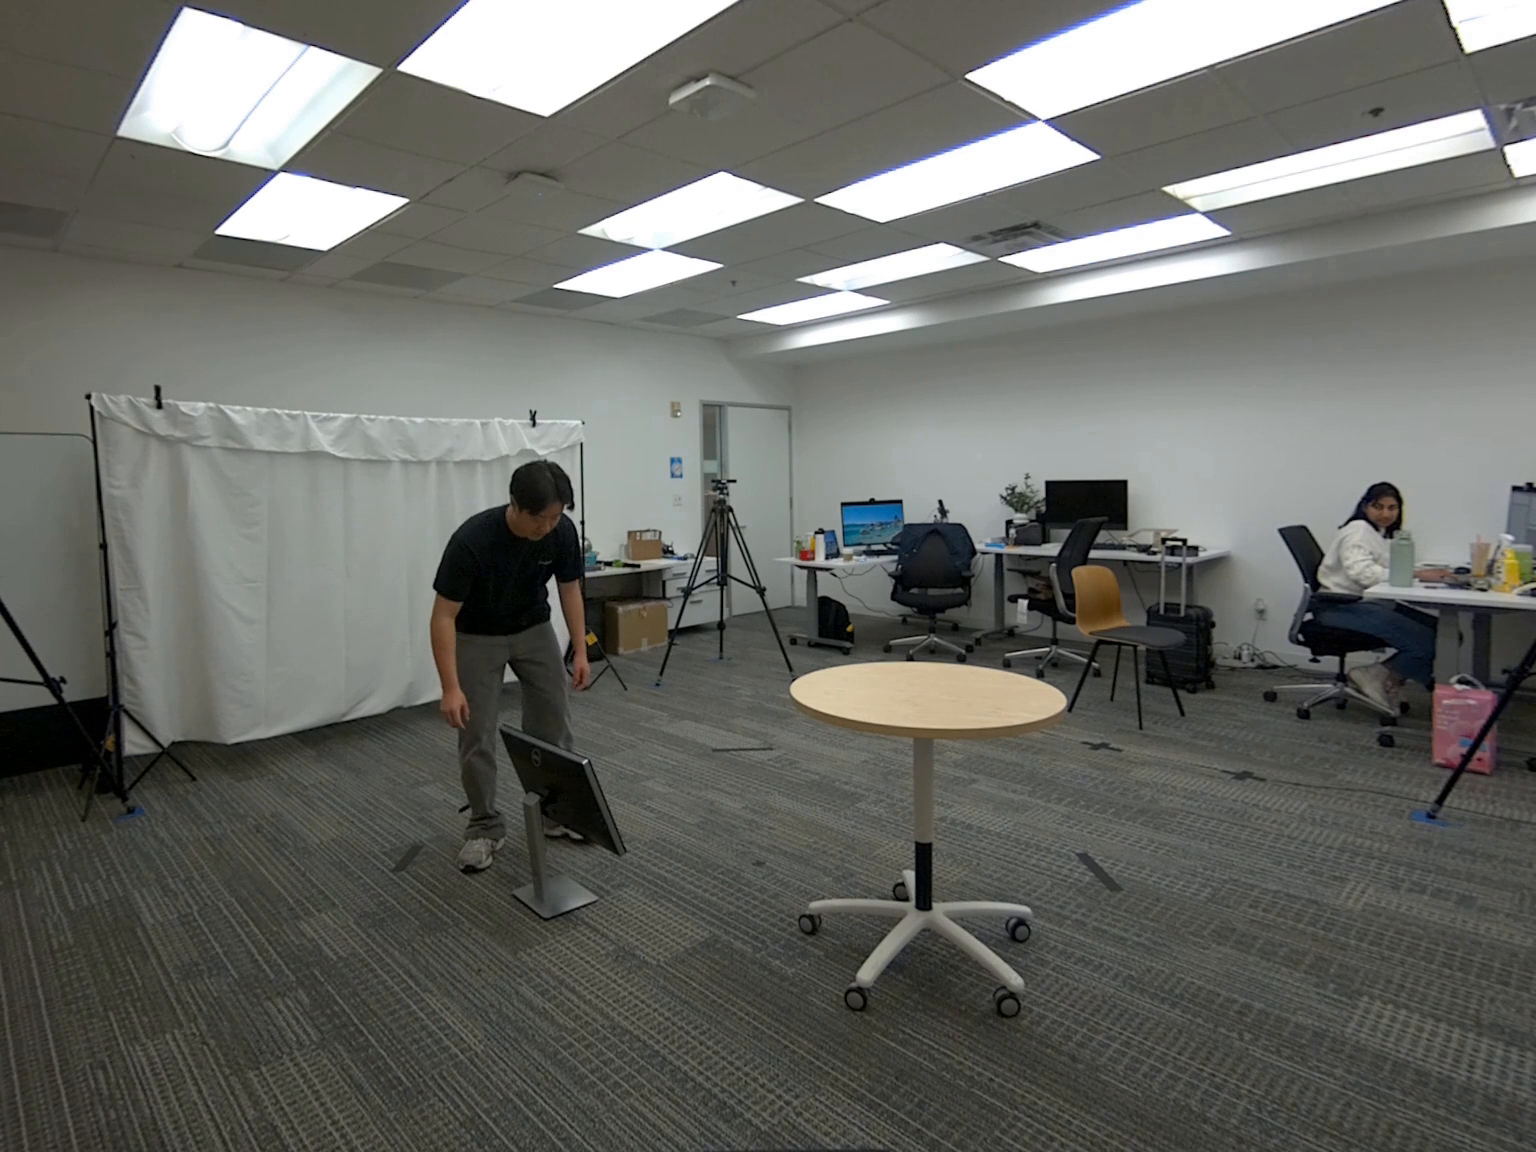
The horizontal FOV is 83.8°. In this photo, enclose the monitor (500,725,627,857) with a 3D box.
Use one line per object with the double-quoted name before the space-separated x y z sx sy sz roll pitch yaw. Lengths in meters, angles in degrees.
"monitor" -0.728 0.825 2.870 0.216 0.564 0.579 -6 6 -43
